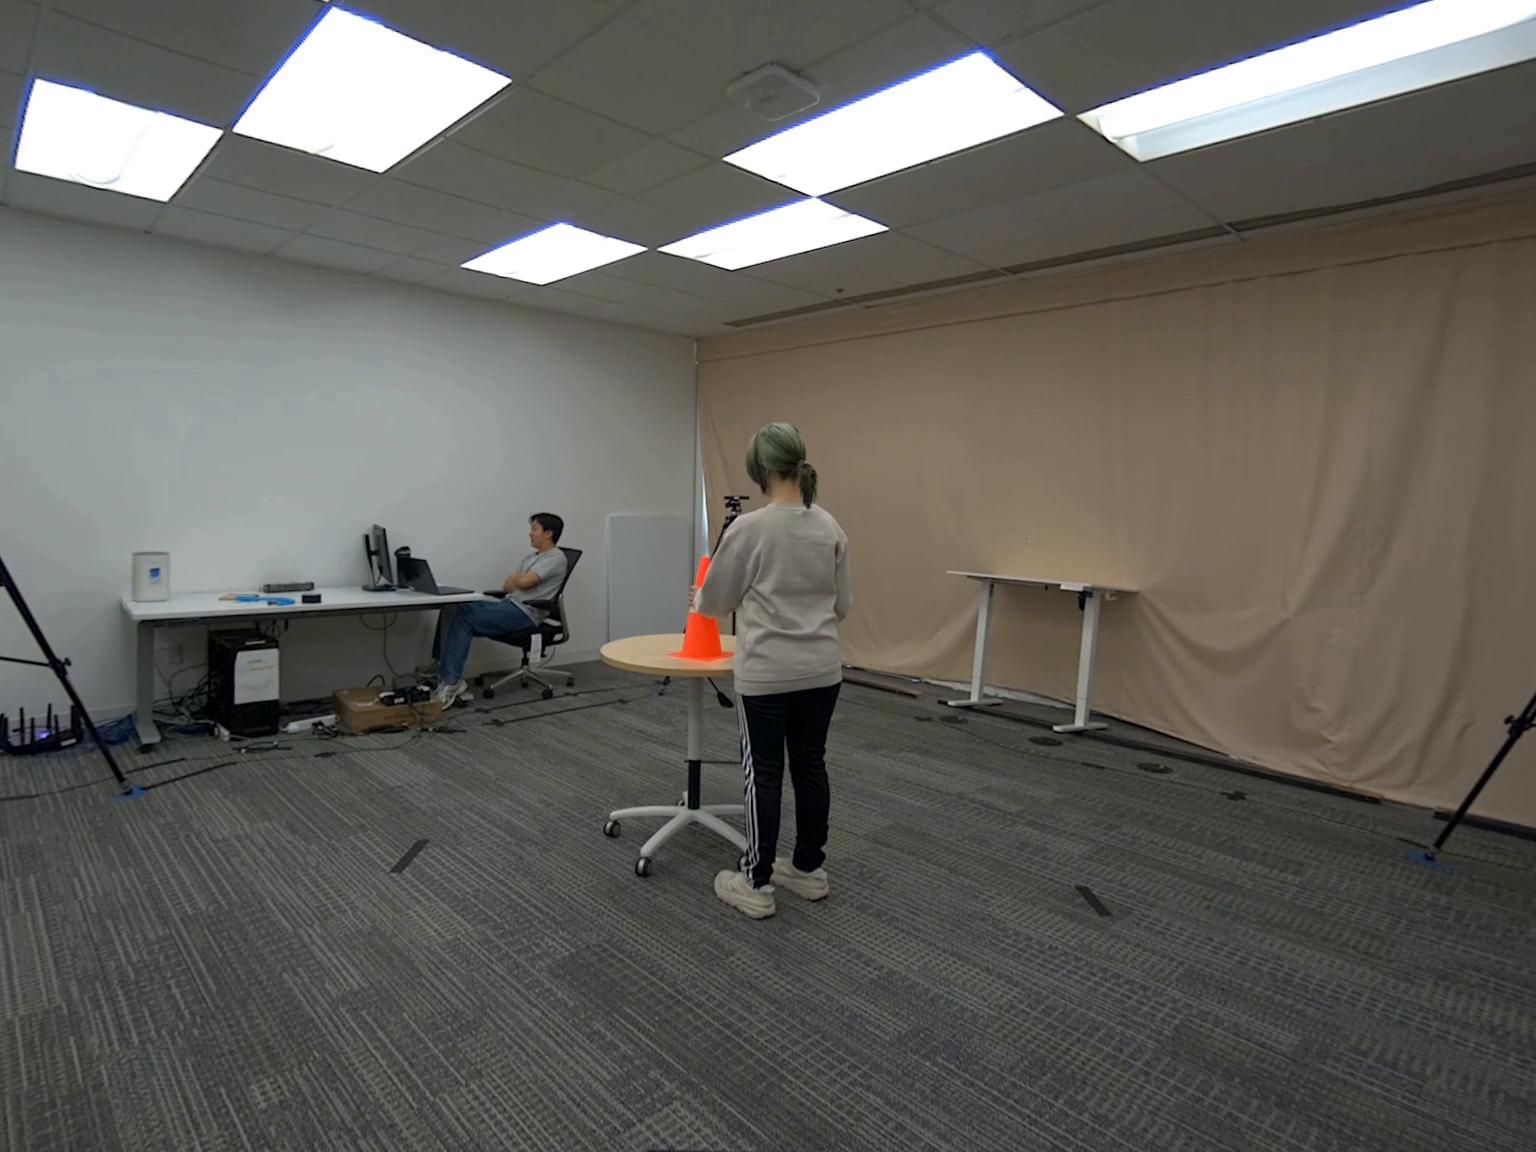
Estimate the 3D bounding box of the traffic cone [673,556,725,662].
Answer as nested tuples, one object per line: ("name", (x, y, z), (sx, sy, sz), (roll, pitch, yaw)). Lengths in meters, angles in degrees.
("traffic cone", (-0.256, 0.120, 3.238), (0.208, 0.382, 0.201), (7, 6, 29))
